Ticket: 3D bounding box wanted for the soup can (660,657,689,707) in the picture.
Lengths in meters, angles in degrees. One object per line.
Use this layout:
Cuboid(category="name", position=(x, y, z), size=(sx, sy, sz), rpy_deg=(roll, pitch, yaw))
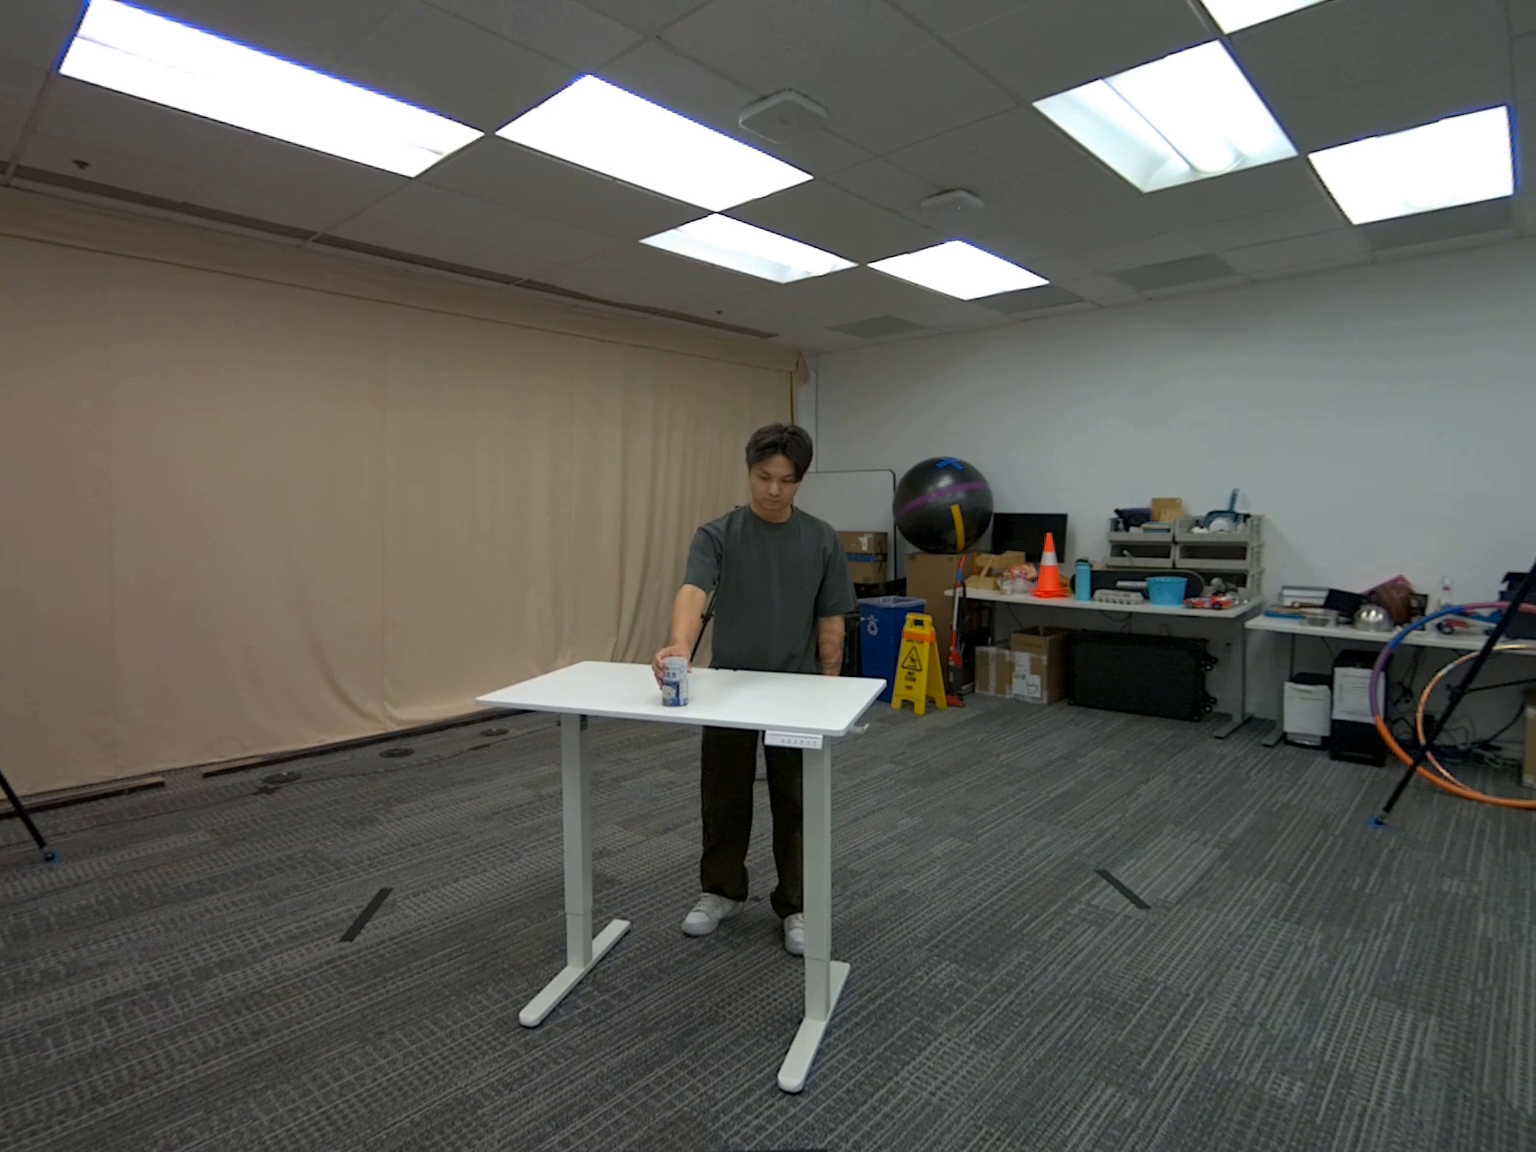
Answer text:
Cuboid(category="soup can", position=(-0.238, 0.272, 2.162), size=(0.067, 0.121, 0.067), rpy_deg=(-1, 7, -2))
